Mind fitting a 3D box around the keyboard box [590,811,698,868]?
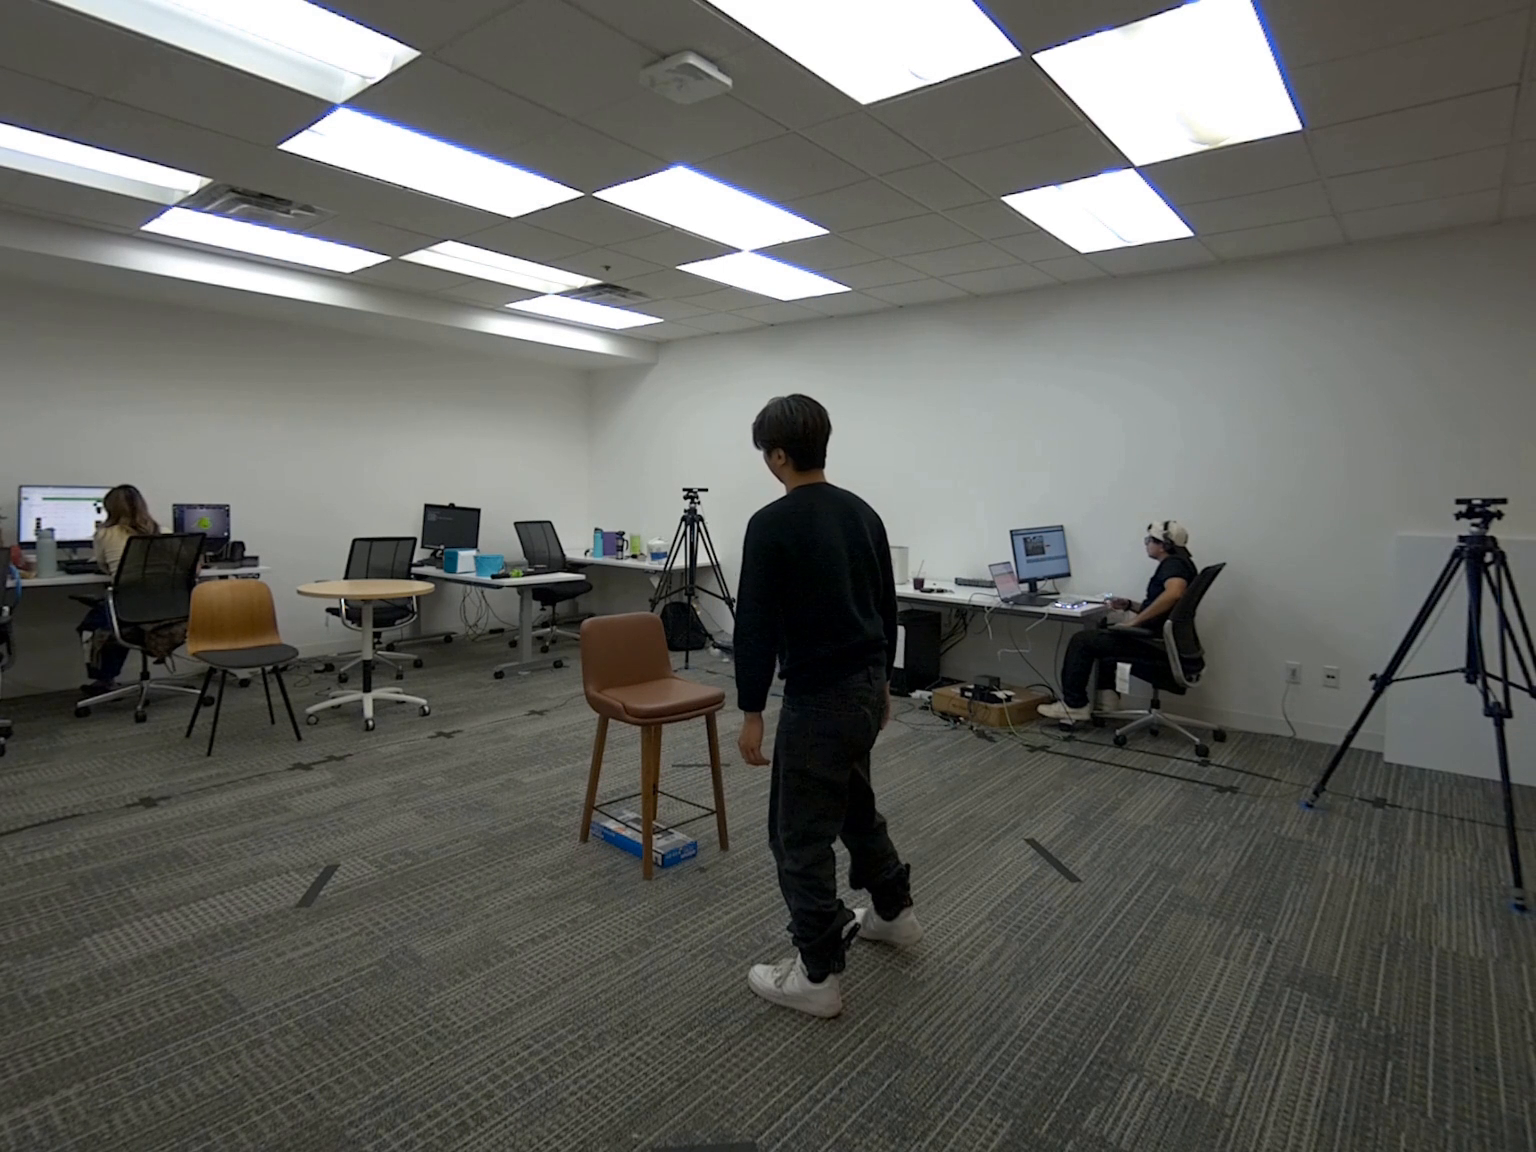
[{"bbox_3d":[-0.503,1.018,3.315,0.452,0.059,0.171,7,8,43],"label":"keyboard box"}]
